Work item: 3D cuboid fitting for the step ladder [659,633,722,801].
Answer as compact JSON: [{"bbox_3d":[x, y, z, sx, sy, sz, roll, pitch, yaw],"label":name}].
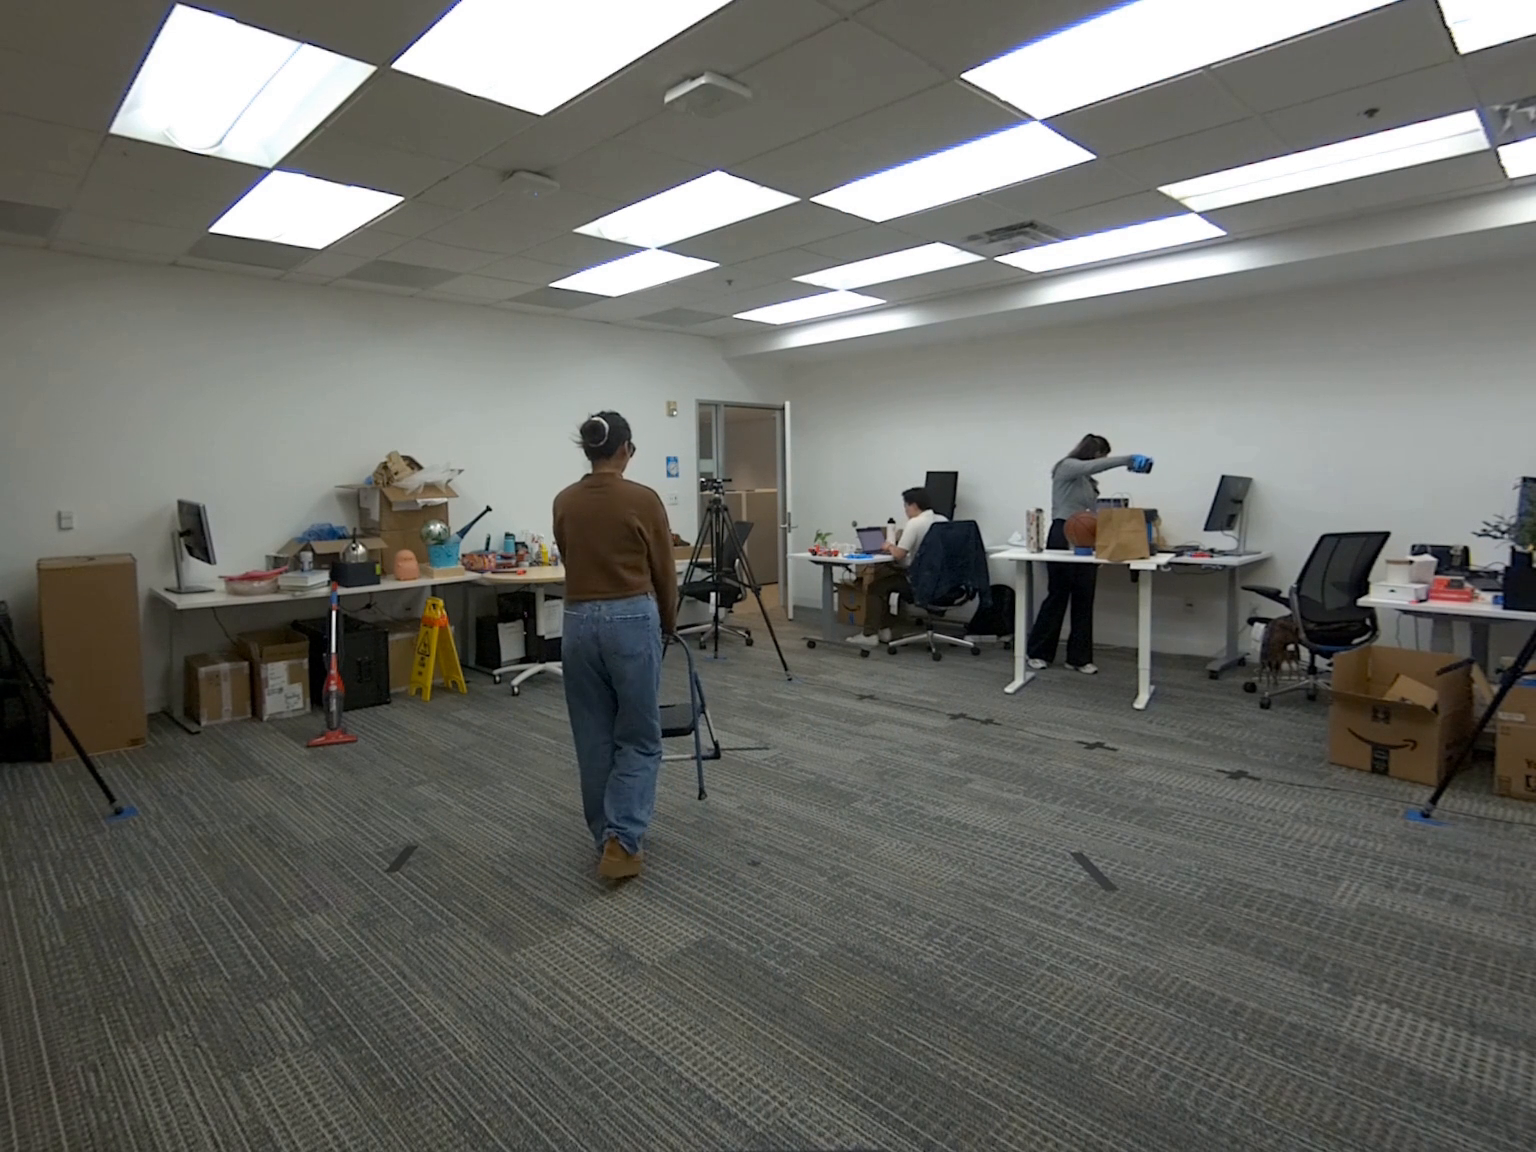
[{"bbox_3d":[-0.464,0.536,3.378,0.435,0.599,0.350,-7,12,12],"label":"step ladder"}]
